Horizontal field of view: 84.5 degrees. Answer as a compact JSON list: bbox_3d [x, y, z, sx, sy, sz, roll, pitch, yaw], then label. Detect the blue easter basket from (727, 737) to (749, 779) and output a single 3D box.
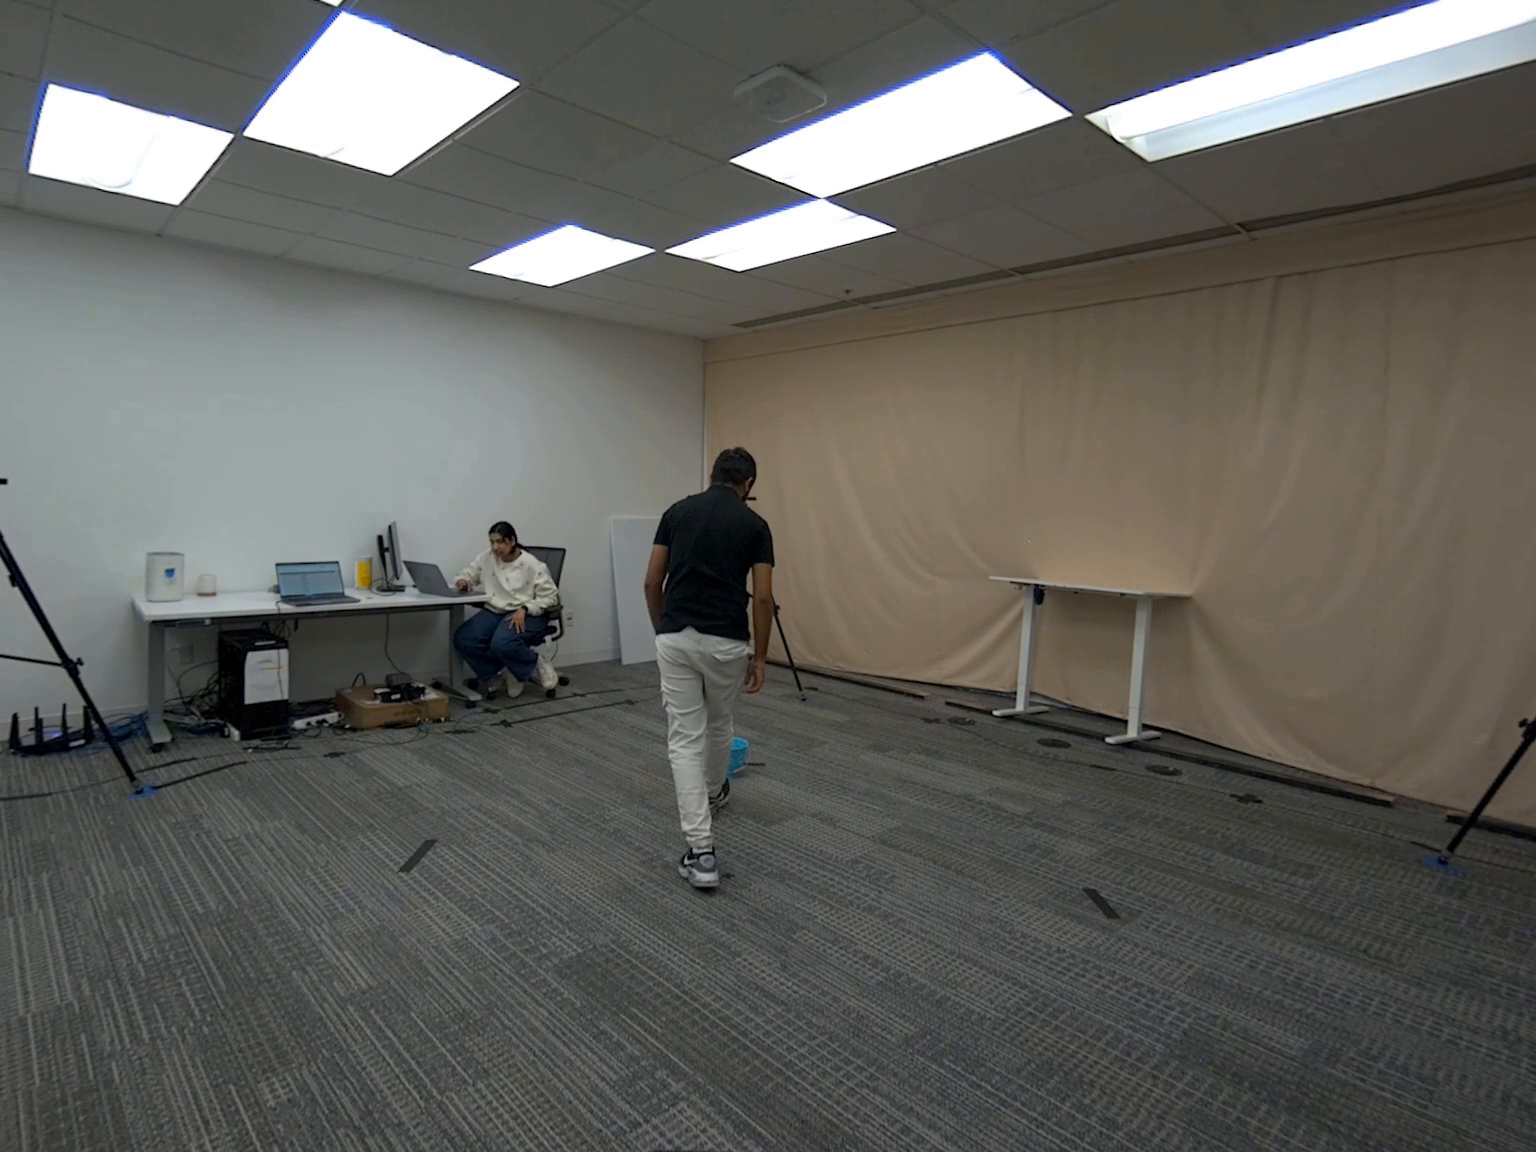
[{"bbox_3d":[-0.228,0.925,4.296,0.243,0.155,0.244,1,5,-1],"label":"blue easter basket"}]
